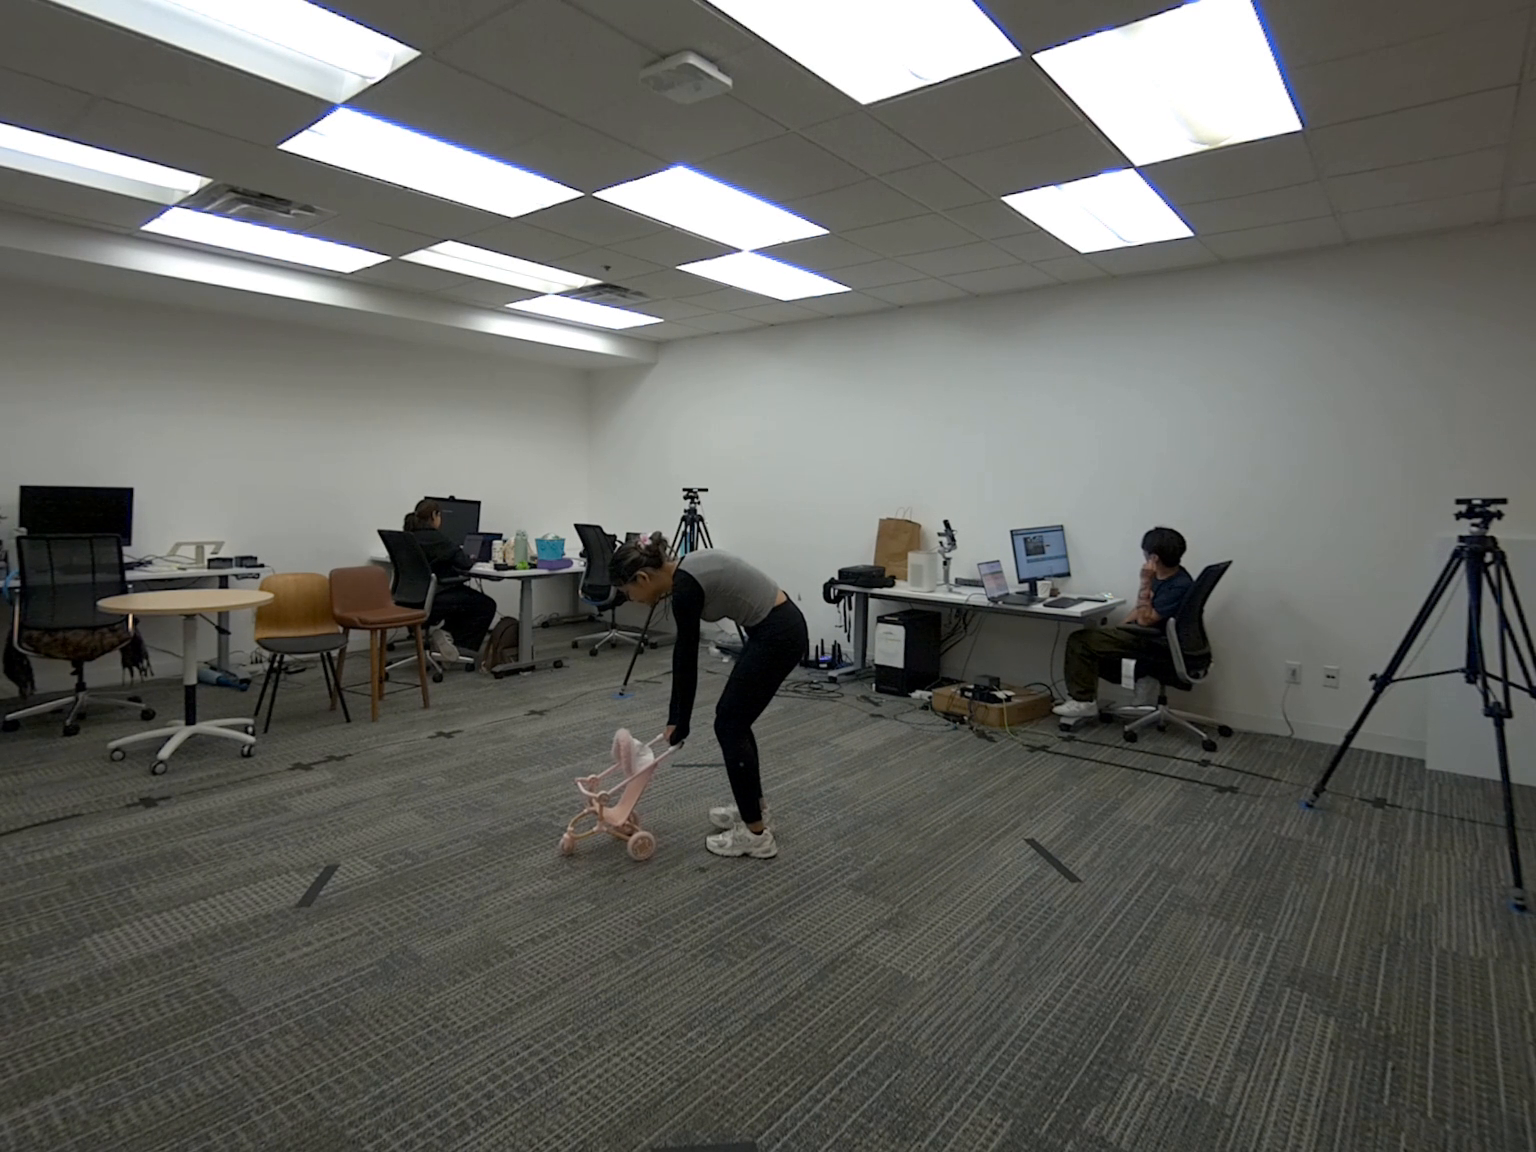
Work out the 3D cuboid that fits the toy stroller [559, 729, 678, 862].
[{"bbox_3d":[-0.585,0.823,3.264,0.335,0.535,0.287,17,-2,-16],"label":"toy stroller"}]
